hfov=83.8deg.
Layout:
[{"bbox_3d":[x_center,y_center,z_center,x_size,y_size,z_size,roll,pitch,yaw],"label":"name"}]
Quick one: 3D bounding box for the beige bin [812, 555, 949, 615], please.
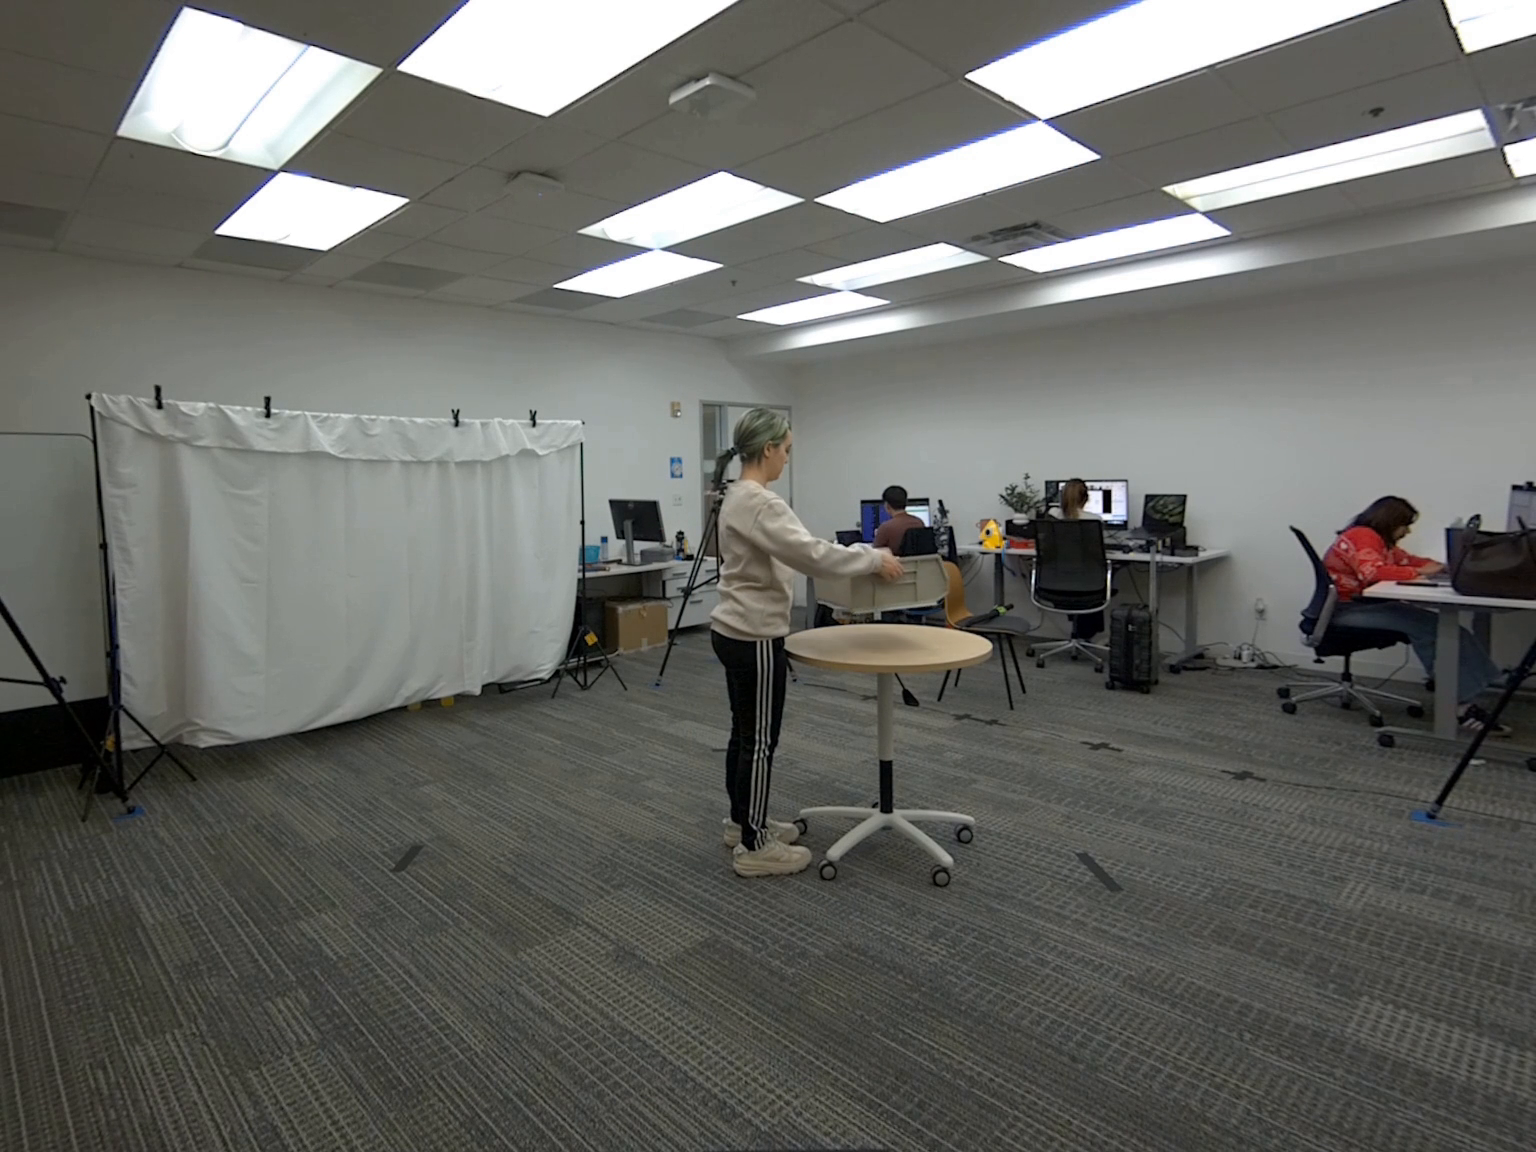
[{"bbox_3d":[0.397,0.018,3.169,0.373,0.188,0.428,-5,5,-13],"label":"beige bin"}]
